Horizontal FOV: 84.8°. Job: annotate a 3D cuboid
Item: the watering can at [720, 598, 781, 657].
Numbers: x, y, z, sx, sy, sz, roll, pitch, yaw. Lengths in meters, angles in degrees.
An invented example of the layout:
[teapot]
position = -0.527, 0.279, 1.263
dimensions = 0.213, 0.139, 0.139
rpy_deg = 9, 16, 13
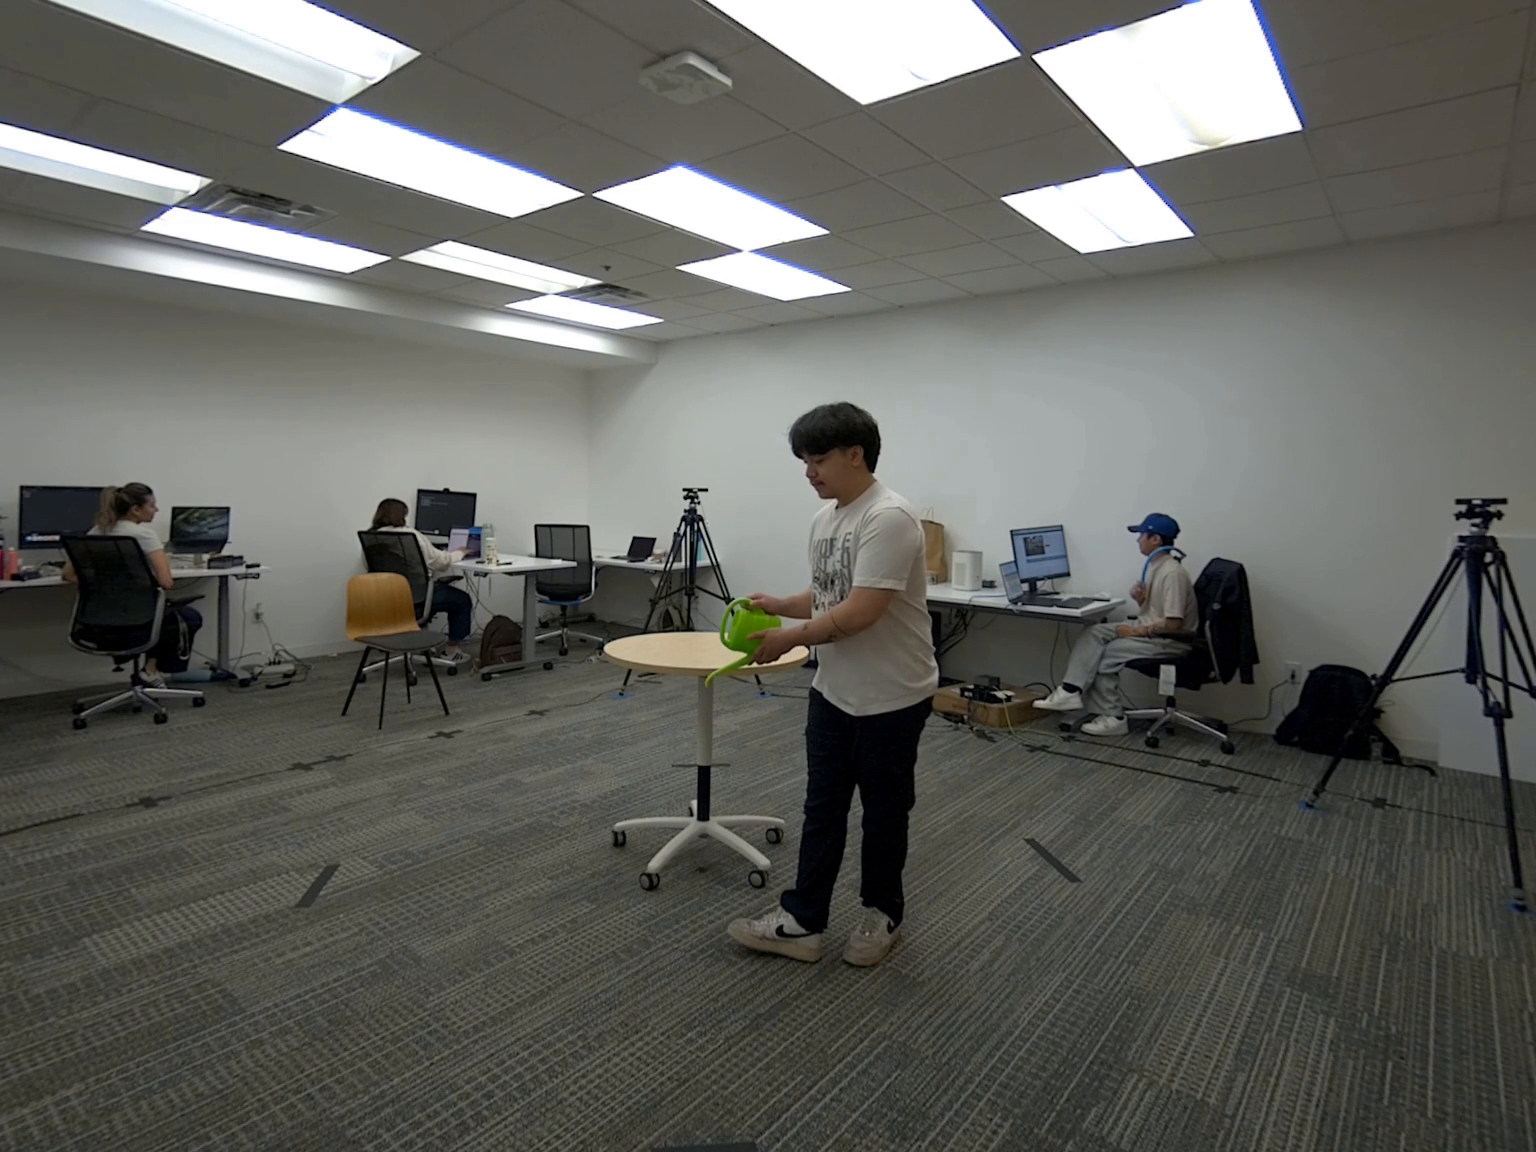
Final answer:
[watering can]
position = -0.084, 0.209, 2.564
dimensions = 0.175, 0.277, 0.099
rpy_deg = 18, 8, -8
